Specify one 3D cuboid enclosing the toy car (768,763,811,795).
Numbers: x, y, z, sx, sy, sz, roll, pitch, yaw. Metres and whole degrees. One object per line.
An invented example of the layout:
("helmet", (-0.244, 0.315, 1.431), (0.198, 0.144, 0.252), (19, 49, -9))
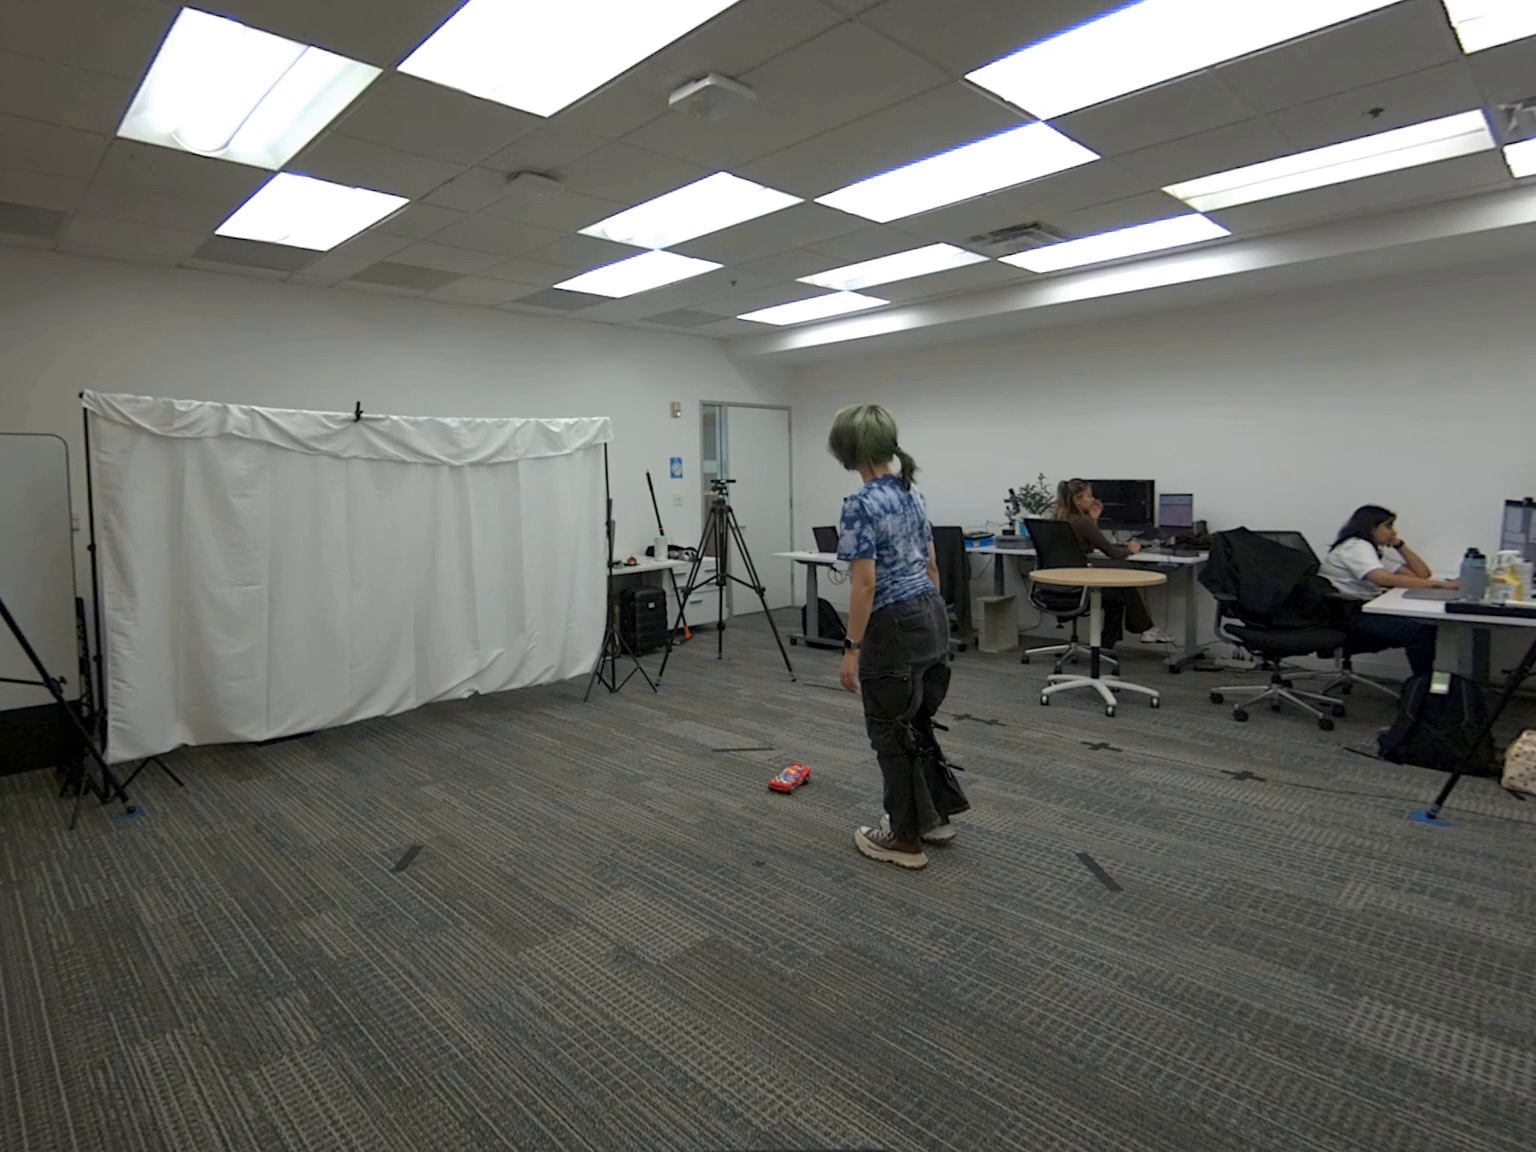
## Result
("toy car", (0.105, 0.925, 3.904), (0.134, 0.082, 0.251), (2, 17, 31))
